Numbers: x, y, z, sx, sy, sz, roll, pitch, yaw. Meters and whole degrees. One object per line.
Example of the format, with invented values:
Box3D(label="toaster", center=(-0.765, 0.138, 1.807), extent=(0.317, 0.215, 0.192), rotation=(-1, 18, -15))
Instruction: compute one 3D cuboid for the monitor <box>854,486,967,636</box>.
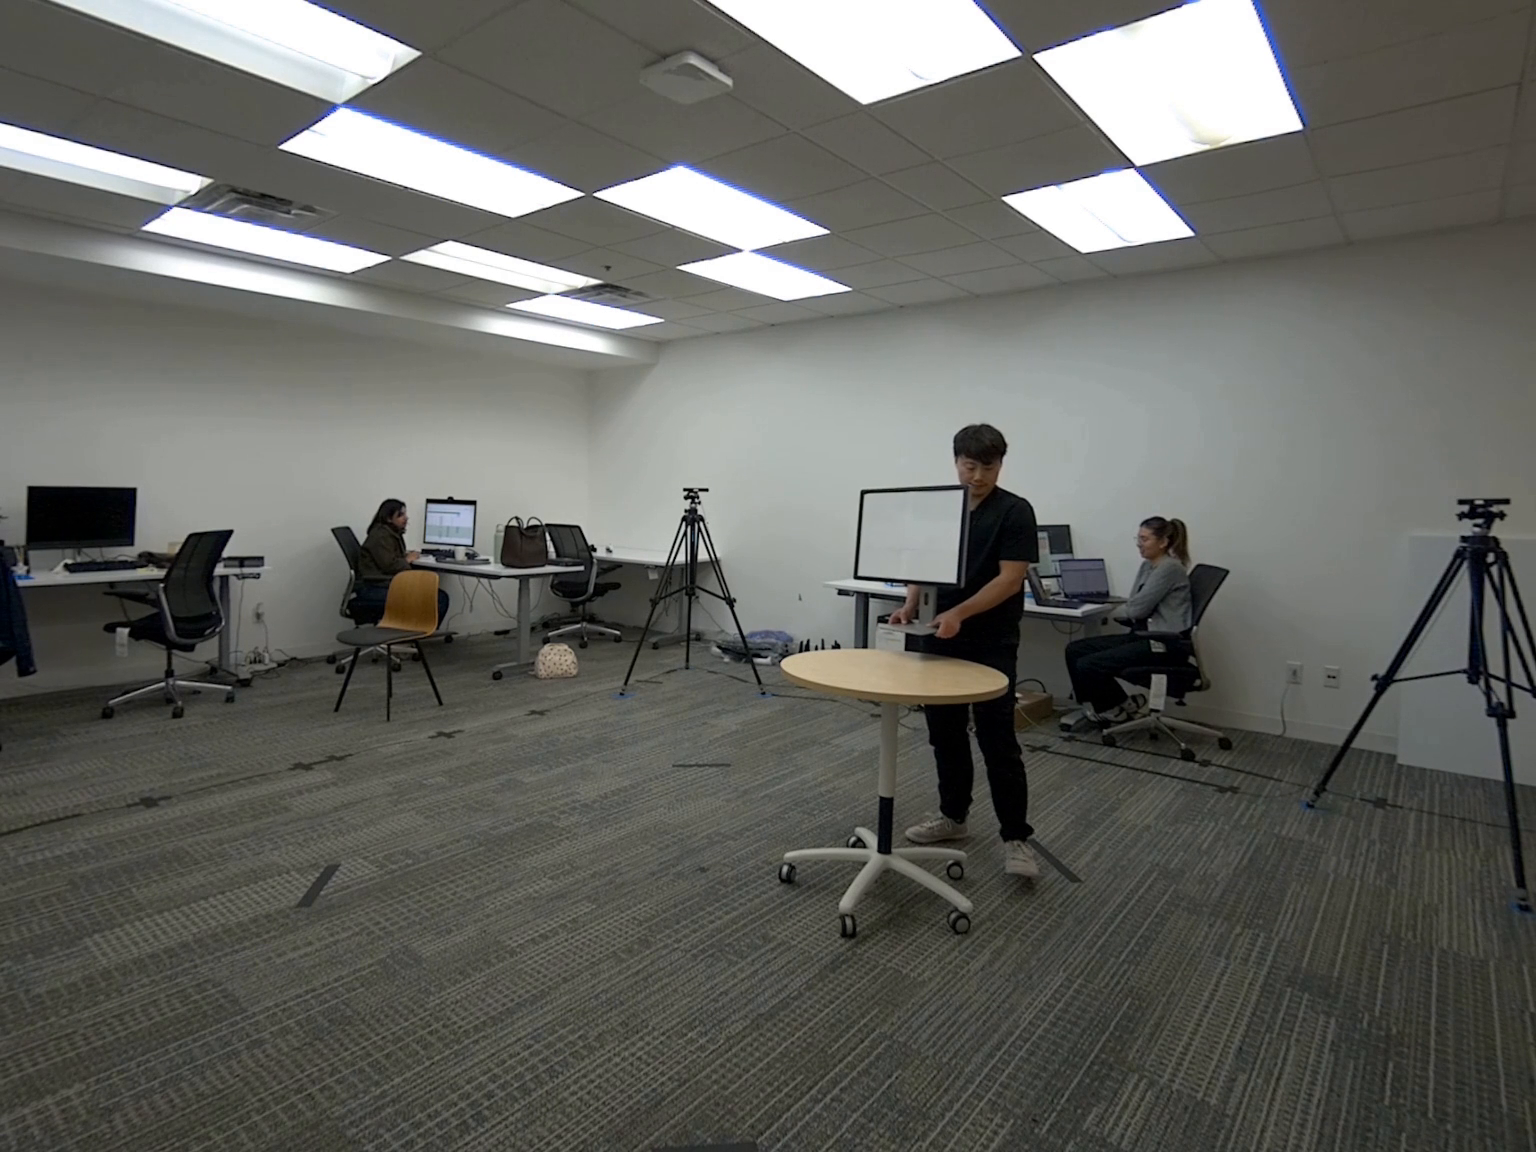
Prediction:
Box3D(label="monitor", center=(0.552, -0.068, 3.211), extent=(0.182, 0.520, 0.556), rotation=(-7, 6, -35))
